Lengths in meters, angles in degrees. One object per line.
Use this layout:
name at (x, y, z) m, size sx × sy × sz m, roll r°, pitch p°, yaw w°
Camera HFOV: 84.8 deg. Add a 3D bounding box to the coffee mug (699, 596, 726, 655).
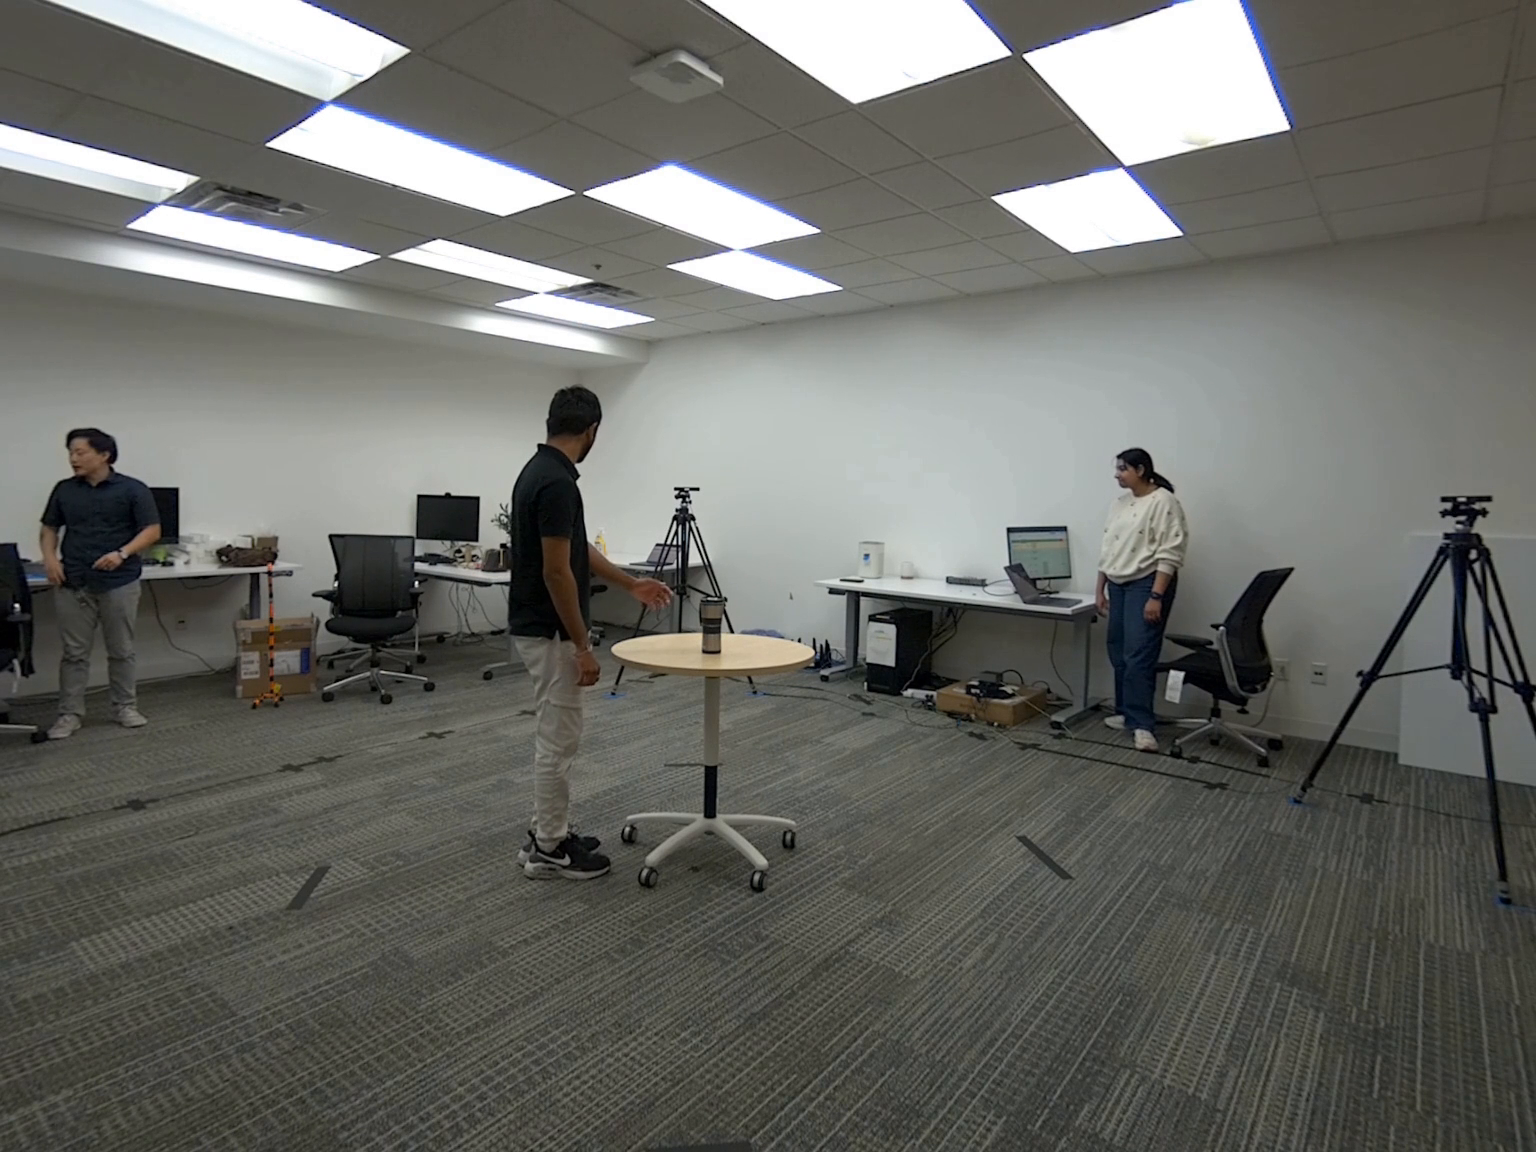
coffee mug at (-0.203, 0.183, 3.143) m, size 0.119 × 0.203 × 0.090 m, roll -5°, pitch -1°, yaw -26°
